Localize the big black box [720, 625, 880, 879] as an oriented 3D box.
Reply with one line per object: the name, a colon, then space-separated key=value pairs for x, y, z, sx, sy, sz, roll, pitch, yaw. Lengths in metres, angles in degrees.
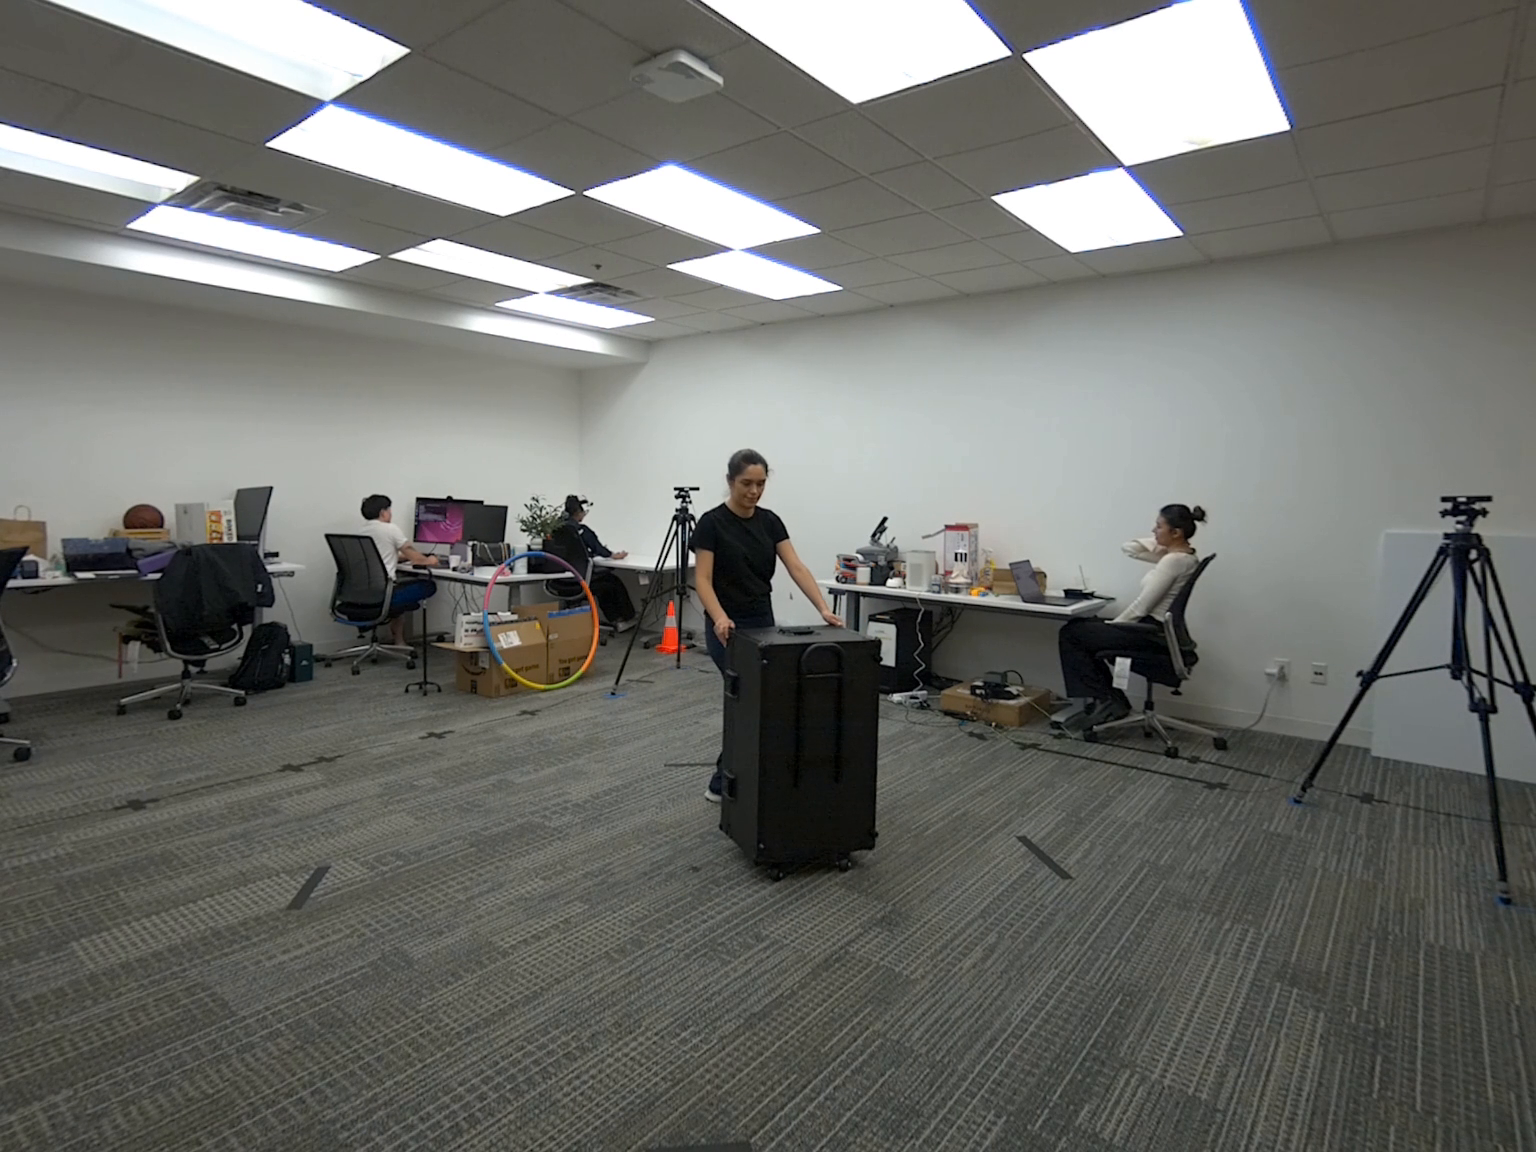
big black box: x=0.138 y=0.635 z=3.204 sx=0.510 sy=0.859 sz=0.406 roll=1 pitch=4 yaw=-21
